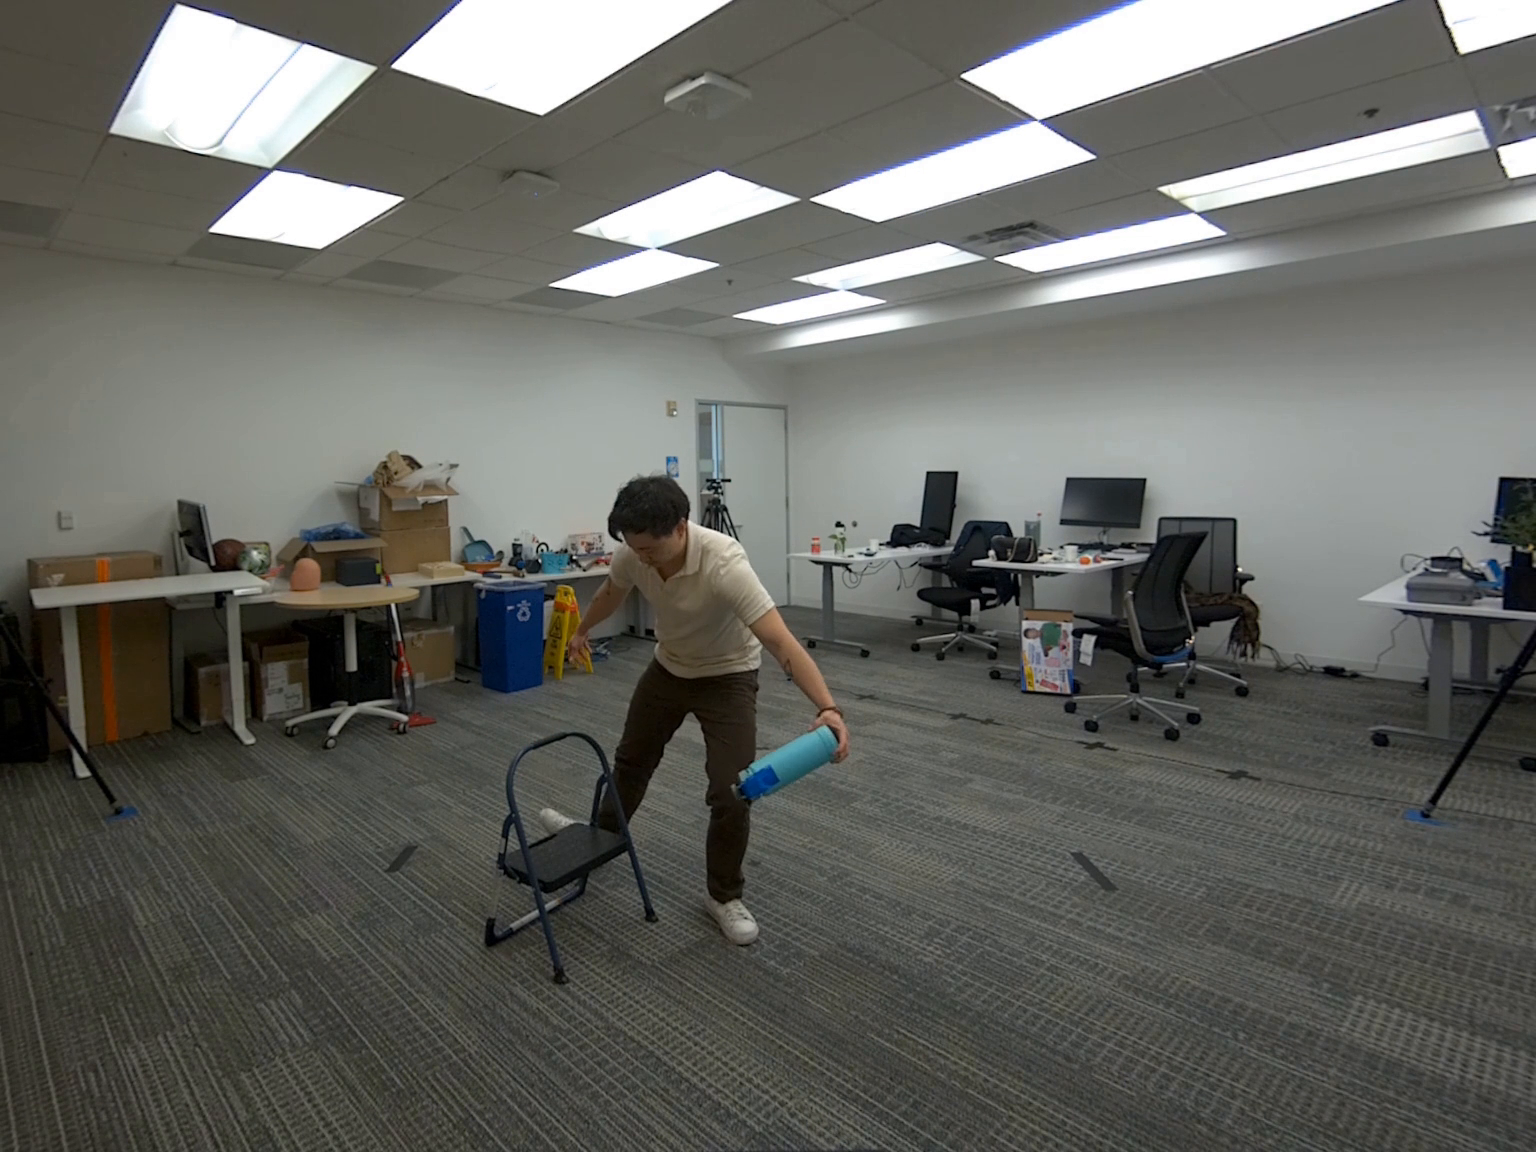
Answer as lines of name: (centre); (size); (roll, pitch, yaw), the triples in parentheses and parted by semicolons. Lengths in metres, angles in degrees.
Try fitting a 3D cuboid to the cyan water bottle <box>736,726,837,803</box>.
cyan water bottle: (0.054, 0.478, 2.155); (0.281, 0.091, 0.094); (-27, 13, -17)
